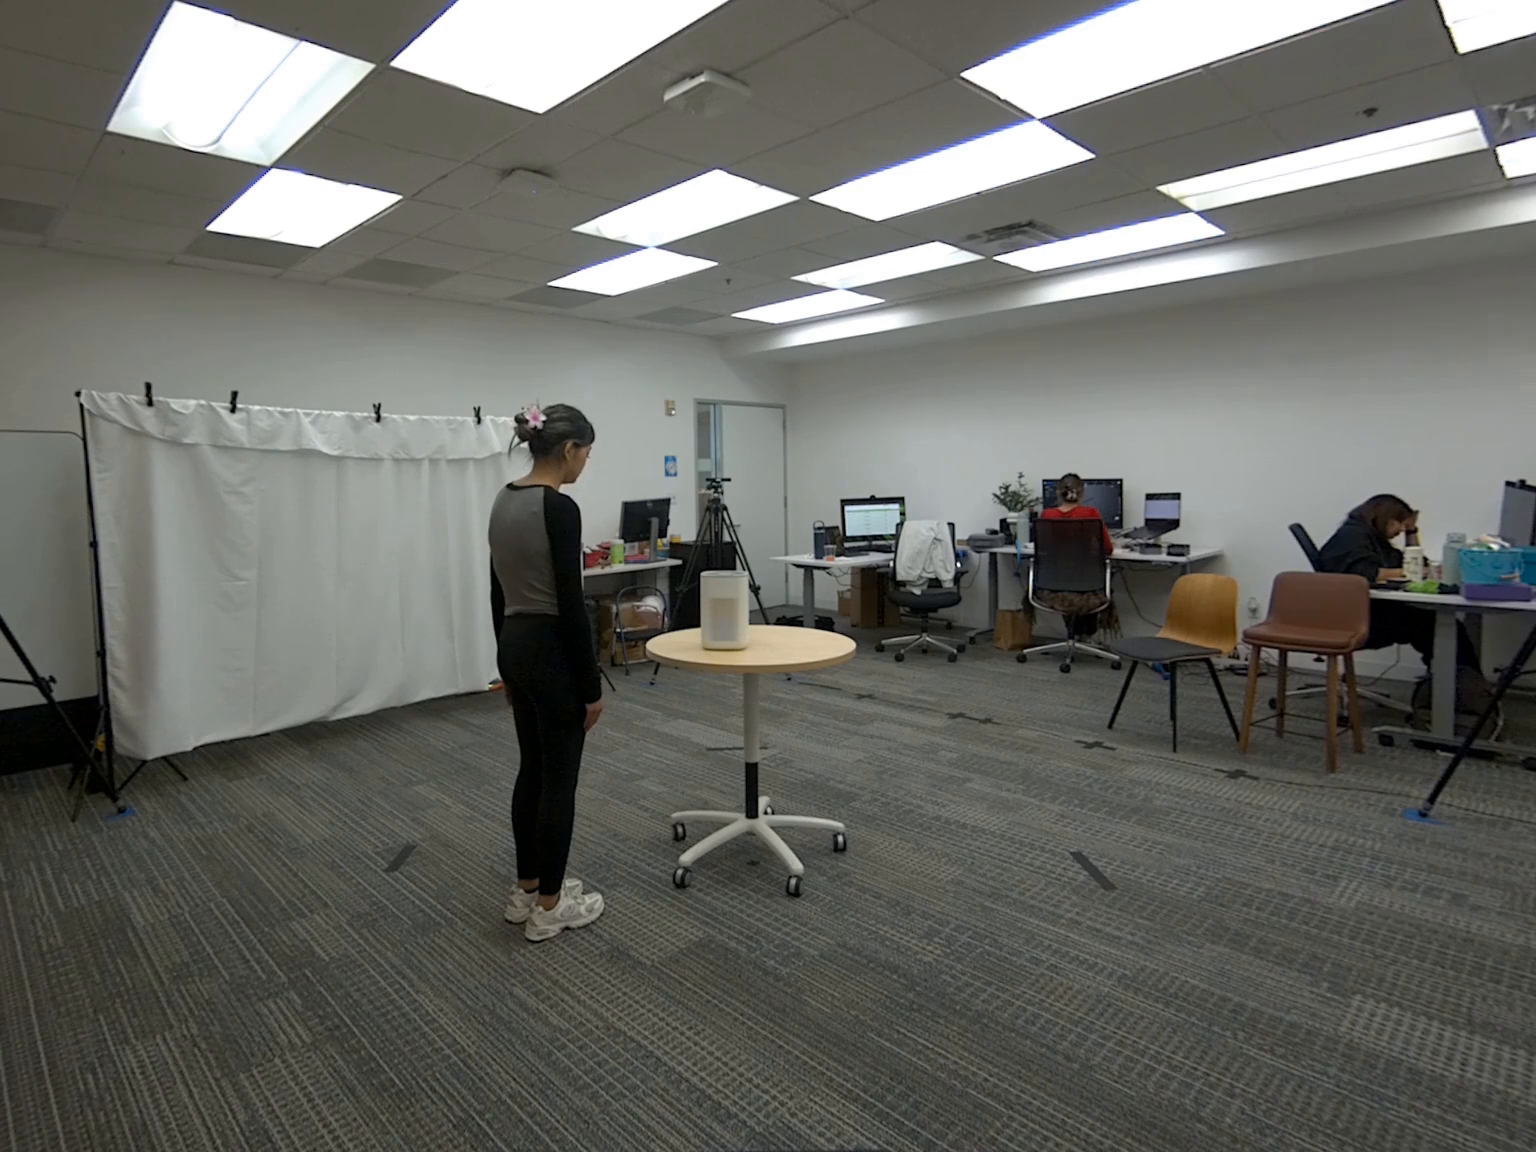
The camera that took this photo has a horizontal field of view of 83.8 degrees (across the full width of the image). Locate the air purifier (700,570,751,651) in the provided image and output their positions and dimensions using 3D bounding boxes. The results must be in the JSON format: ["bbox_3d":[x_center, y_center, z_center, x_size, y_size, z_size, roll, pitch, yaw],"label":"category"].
[{"bbox_3d":[-0.149,0.121,3.057,0.172,0.264,0.171,-2,4,1],"label":"air purifier"}]
